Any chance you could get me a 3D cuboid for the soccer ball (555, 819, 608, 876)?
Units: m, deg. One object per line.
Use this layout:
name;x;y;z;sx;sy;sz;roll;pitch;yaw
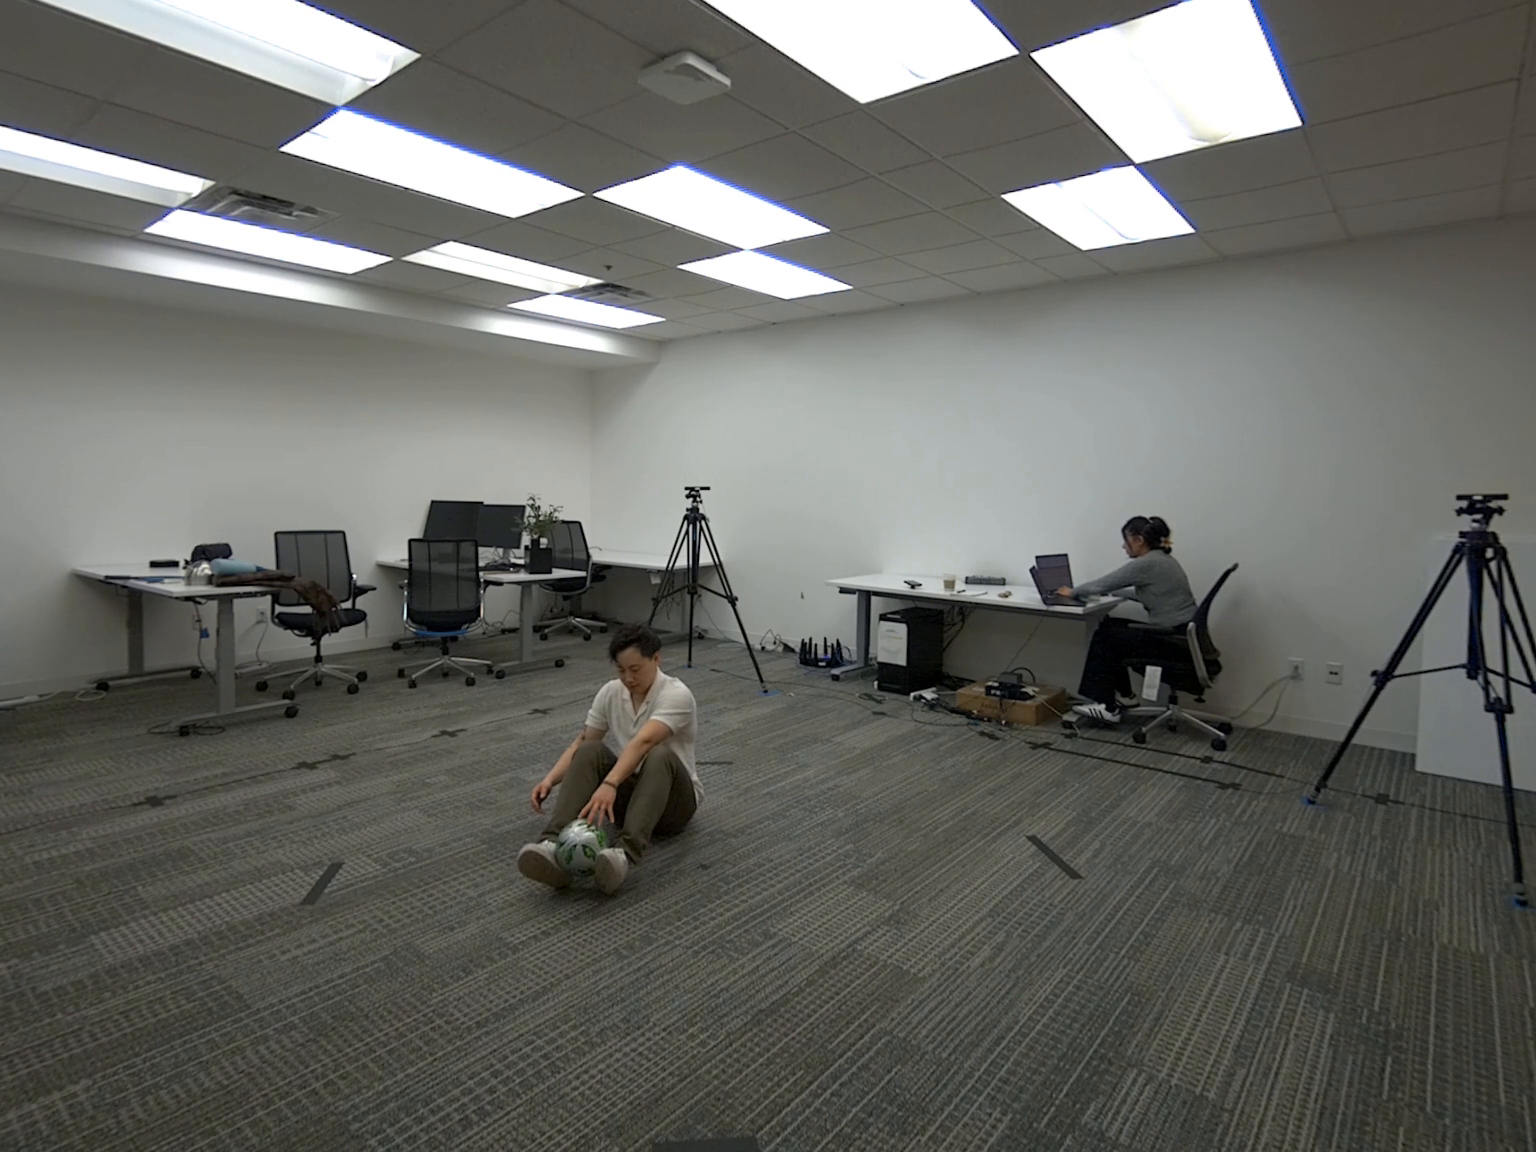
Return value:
soccer ball;-0.651;0.921;2.908;0.187;0.187;0.188;1;4;-2
